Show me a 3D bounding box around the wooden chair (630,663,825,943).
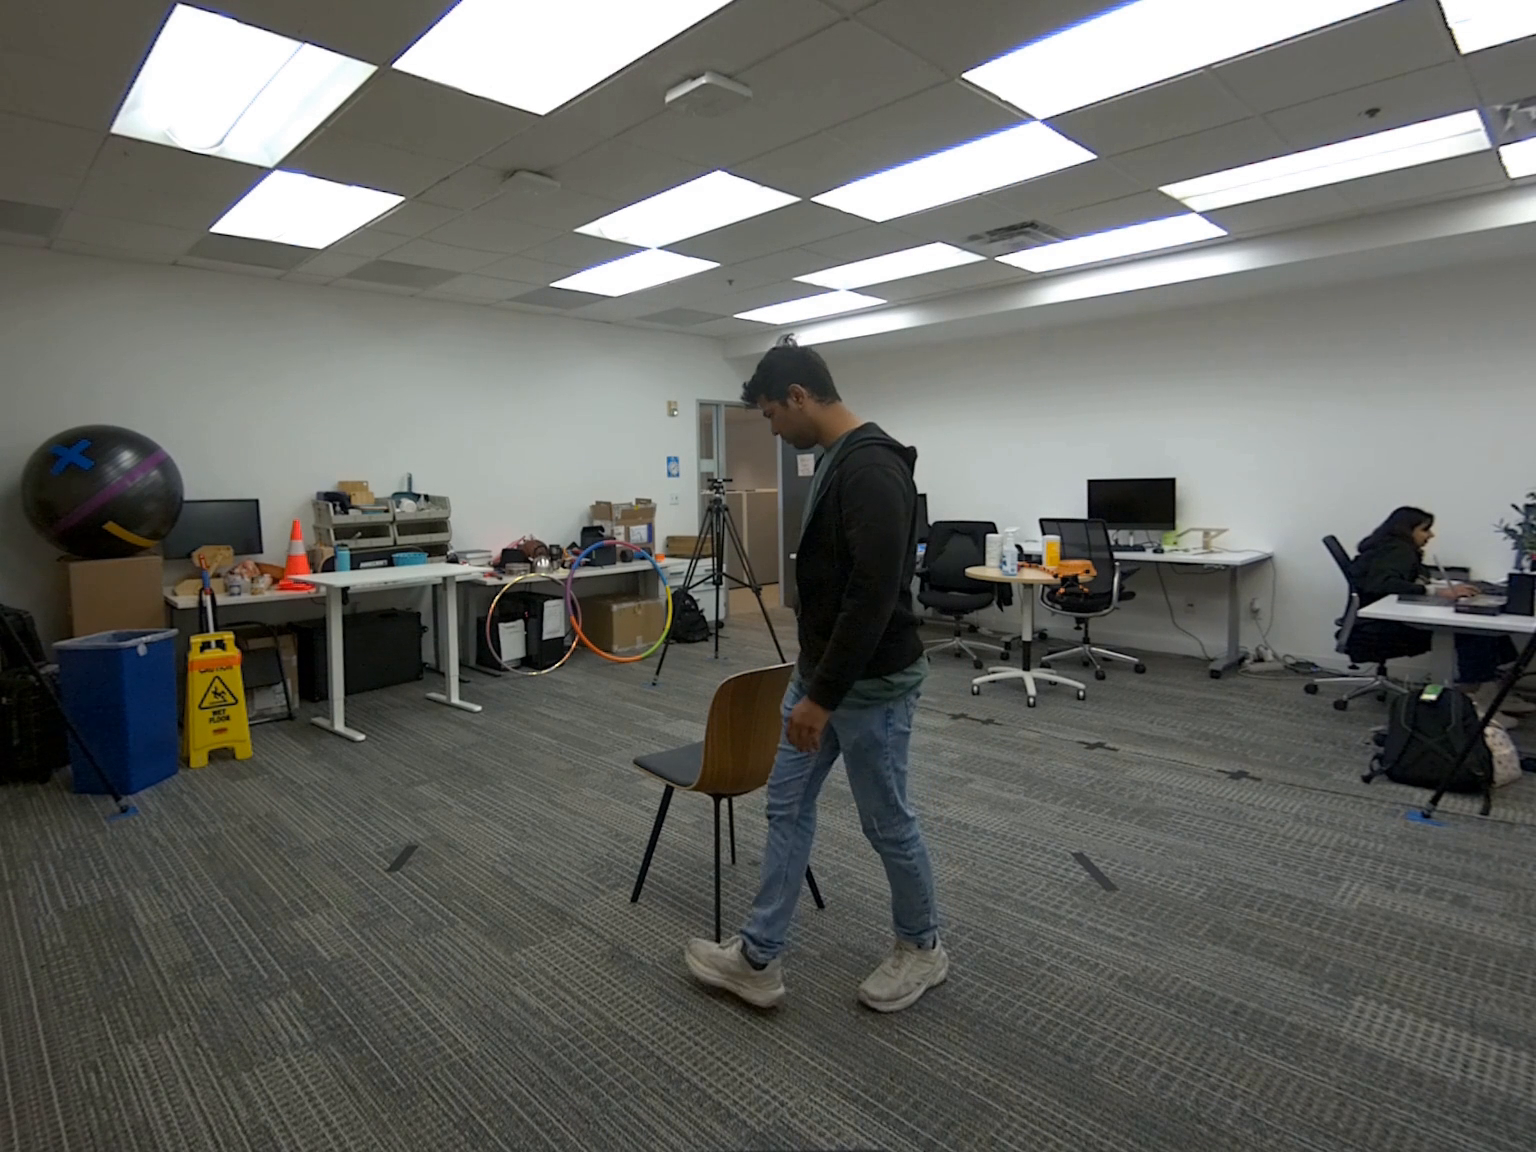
[{"bbox_3d":[-0.144,0.658,2.780,0.465,0.871,0.540,-5,10,-41],"label":"wooden chair"}]
